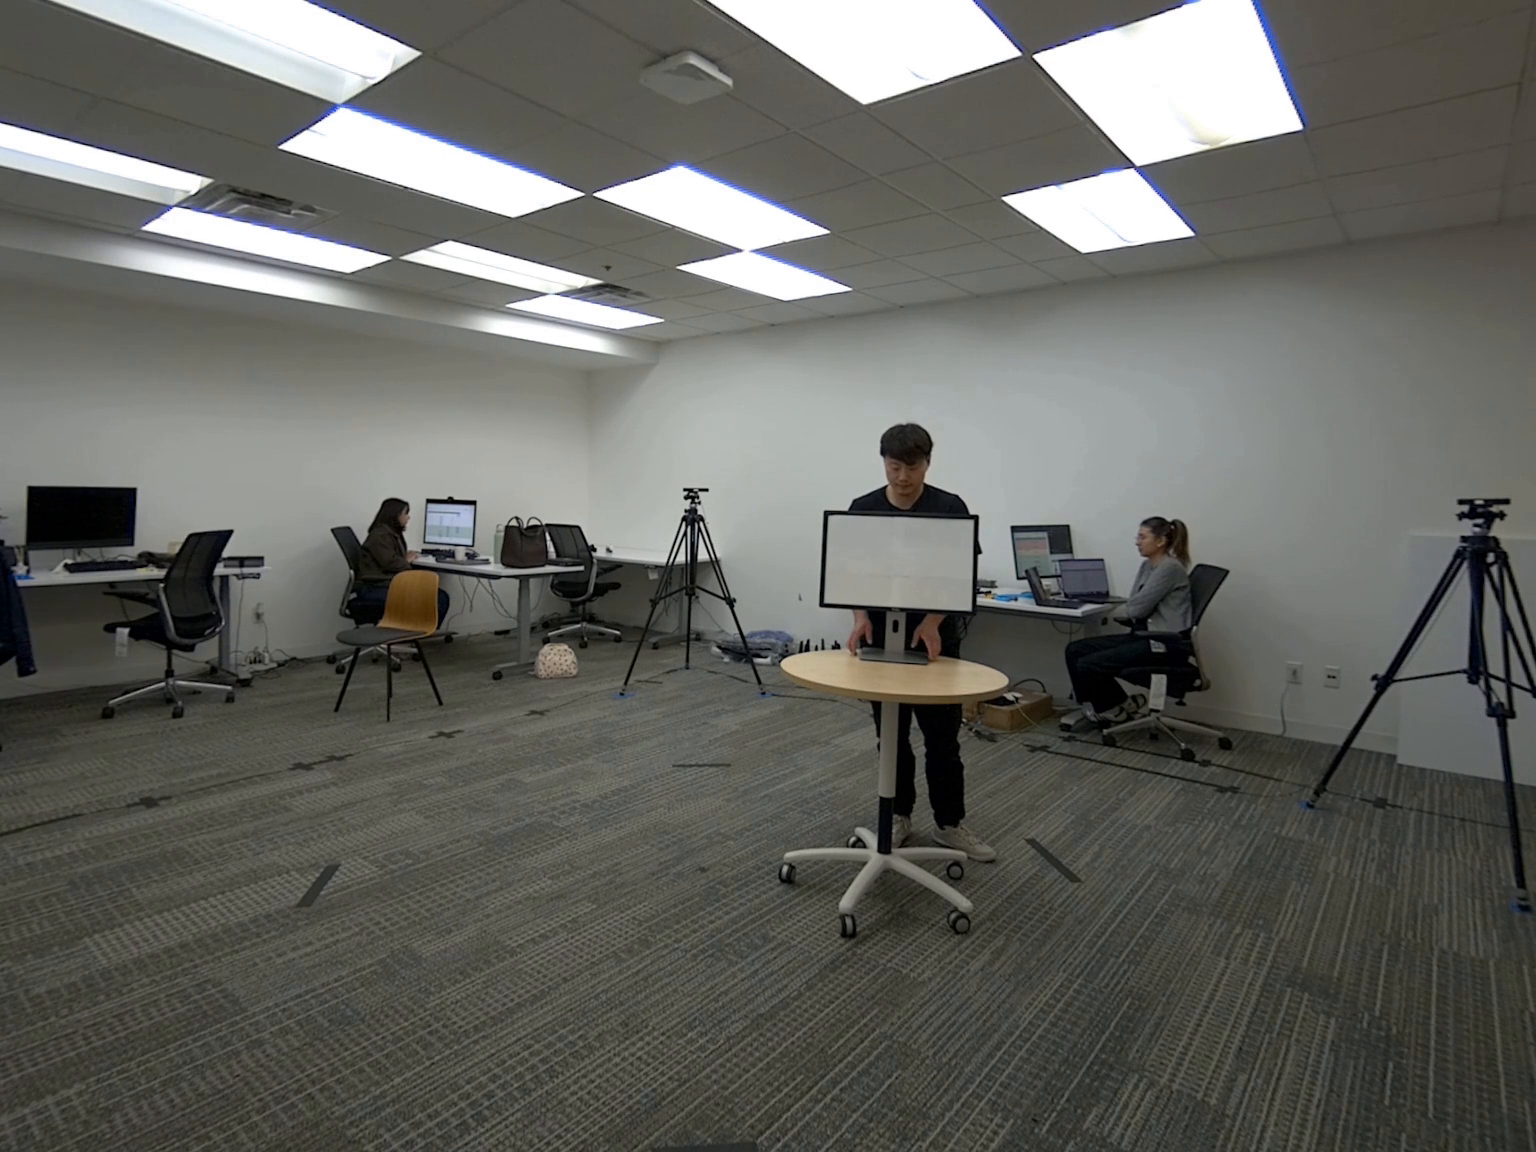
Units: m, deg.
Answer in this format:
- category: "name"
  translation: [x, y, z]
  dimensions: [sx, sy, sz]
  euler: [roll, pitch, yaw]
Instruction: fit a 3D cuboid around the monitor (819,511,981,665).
- category: "monitor"
  translation: [0.478, 0.031, 3.148]
  dimensions: [0.547, 0.520, 0.185]
  euler: [3, 5, 12]
